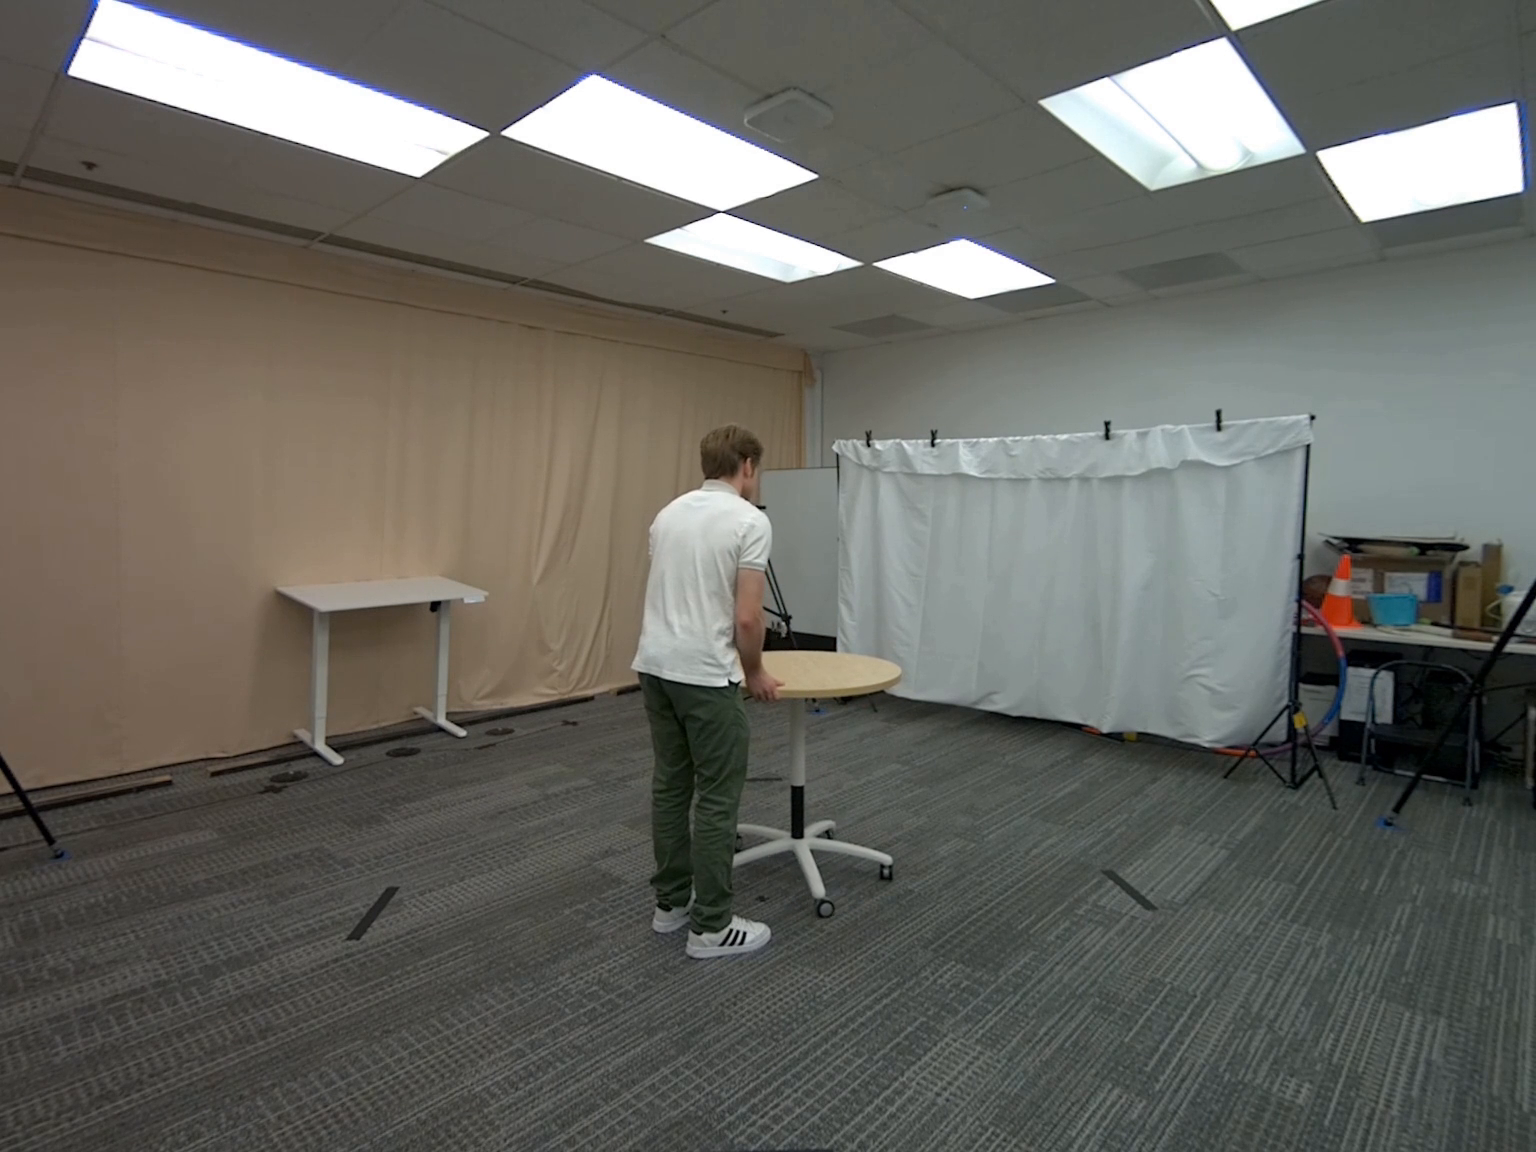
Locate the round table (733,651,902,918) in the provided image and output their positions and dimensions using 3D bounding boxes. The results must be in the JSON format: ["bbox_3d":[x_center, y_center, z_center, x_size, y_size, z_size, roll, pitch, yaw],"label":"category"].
[{"bbox_3d":[0.120,0.739,3.170,0.763,0.792,0.766,0,4,-2],"label":"round table"}]
